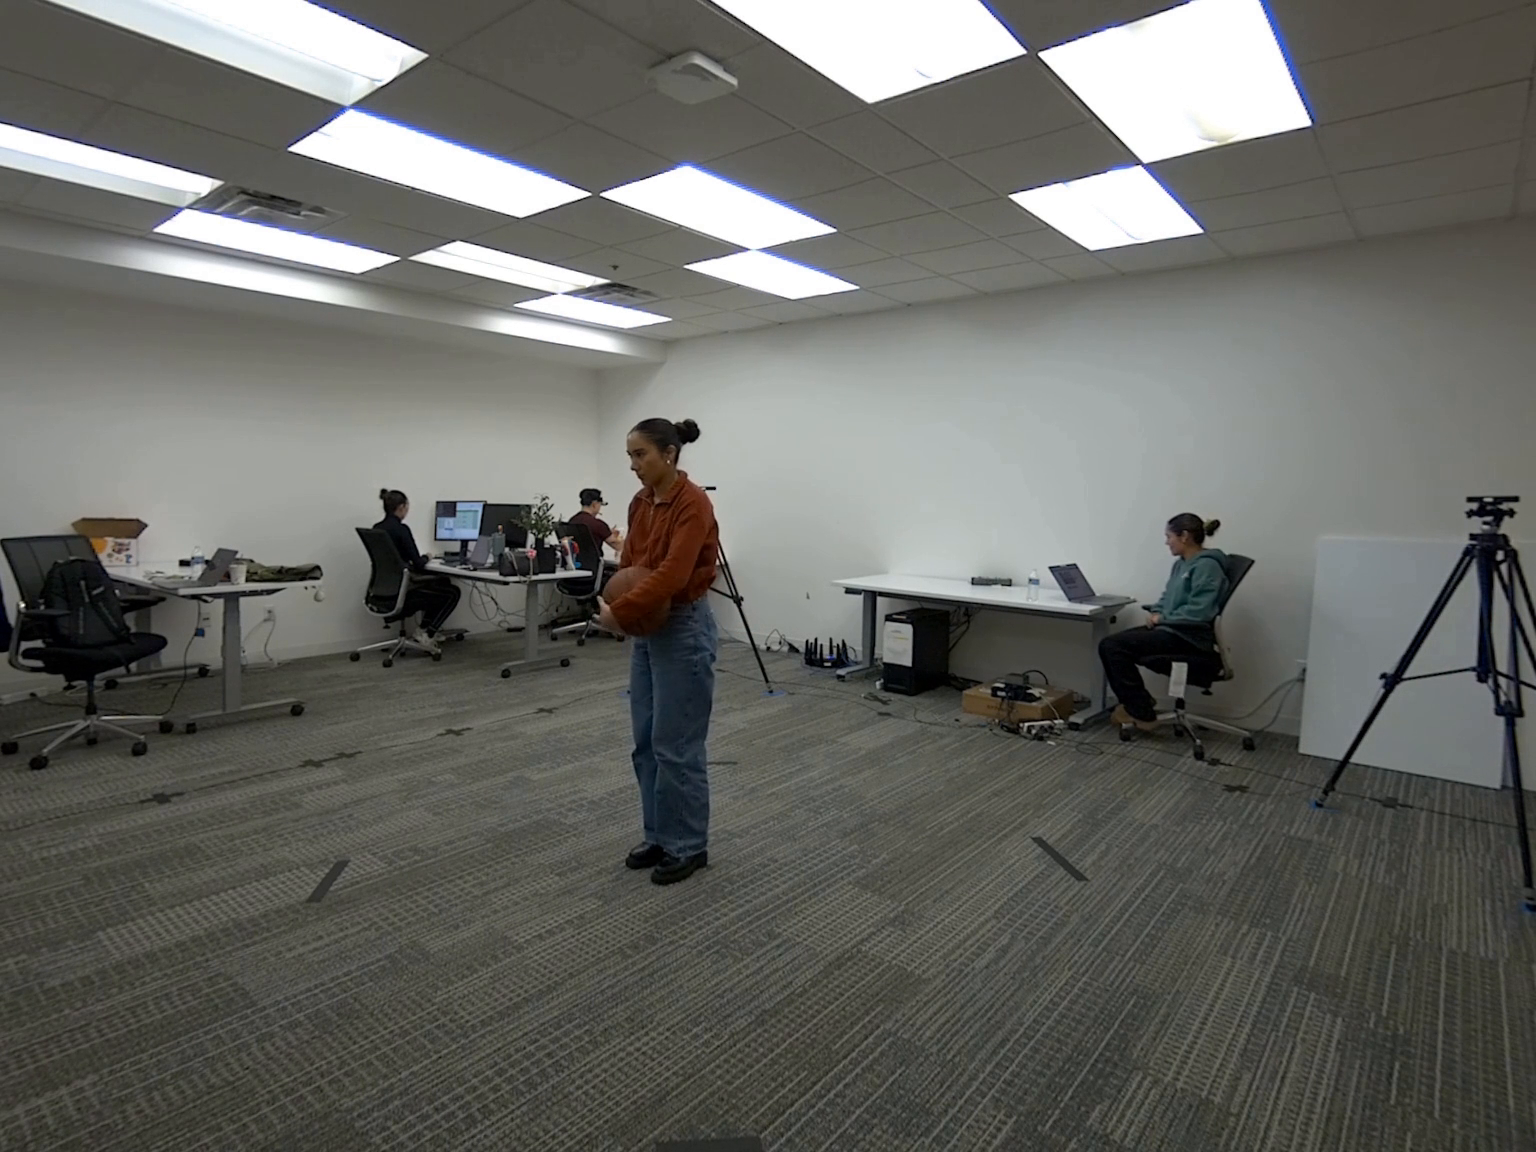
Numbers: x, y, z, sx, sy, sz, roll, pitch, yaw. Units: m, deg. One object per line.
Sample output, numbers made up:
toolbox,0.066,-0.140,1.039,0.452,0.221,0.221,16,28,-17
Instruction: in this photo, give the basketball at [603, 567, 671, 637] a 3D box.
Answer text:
basketball,-0.459,0.083,2.901,0.235,0.235,0.237,1,4,-2
